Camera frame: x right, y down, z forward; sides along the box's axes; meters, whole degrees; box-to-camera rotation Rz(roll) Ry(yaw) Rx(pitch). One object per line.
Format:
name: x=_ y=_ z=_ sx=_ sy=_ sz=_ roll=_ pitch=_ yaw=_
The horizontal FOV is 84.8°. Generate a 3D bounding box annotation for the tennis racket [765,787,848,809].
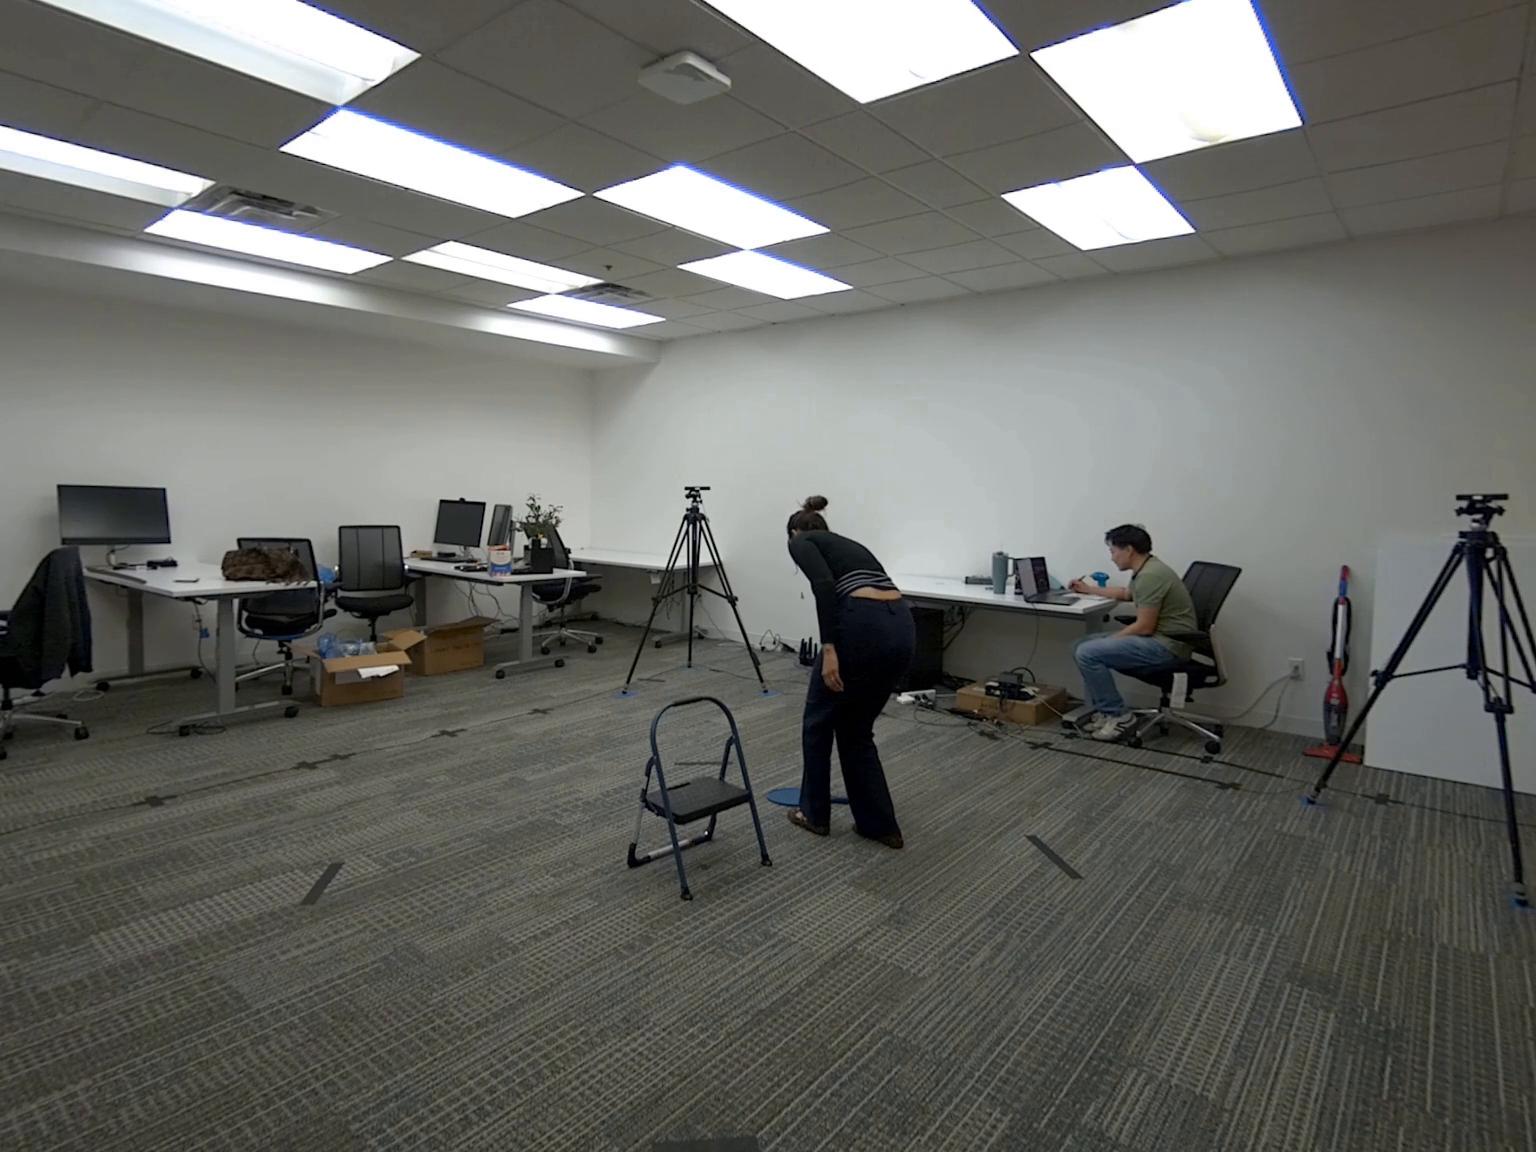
tennis racket: x=0.196 y=0.986 z=3.808 sx=0.438 sy=0.031 sz=0.212 roll=1 pitch=5 yaw=10
